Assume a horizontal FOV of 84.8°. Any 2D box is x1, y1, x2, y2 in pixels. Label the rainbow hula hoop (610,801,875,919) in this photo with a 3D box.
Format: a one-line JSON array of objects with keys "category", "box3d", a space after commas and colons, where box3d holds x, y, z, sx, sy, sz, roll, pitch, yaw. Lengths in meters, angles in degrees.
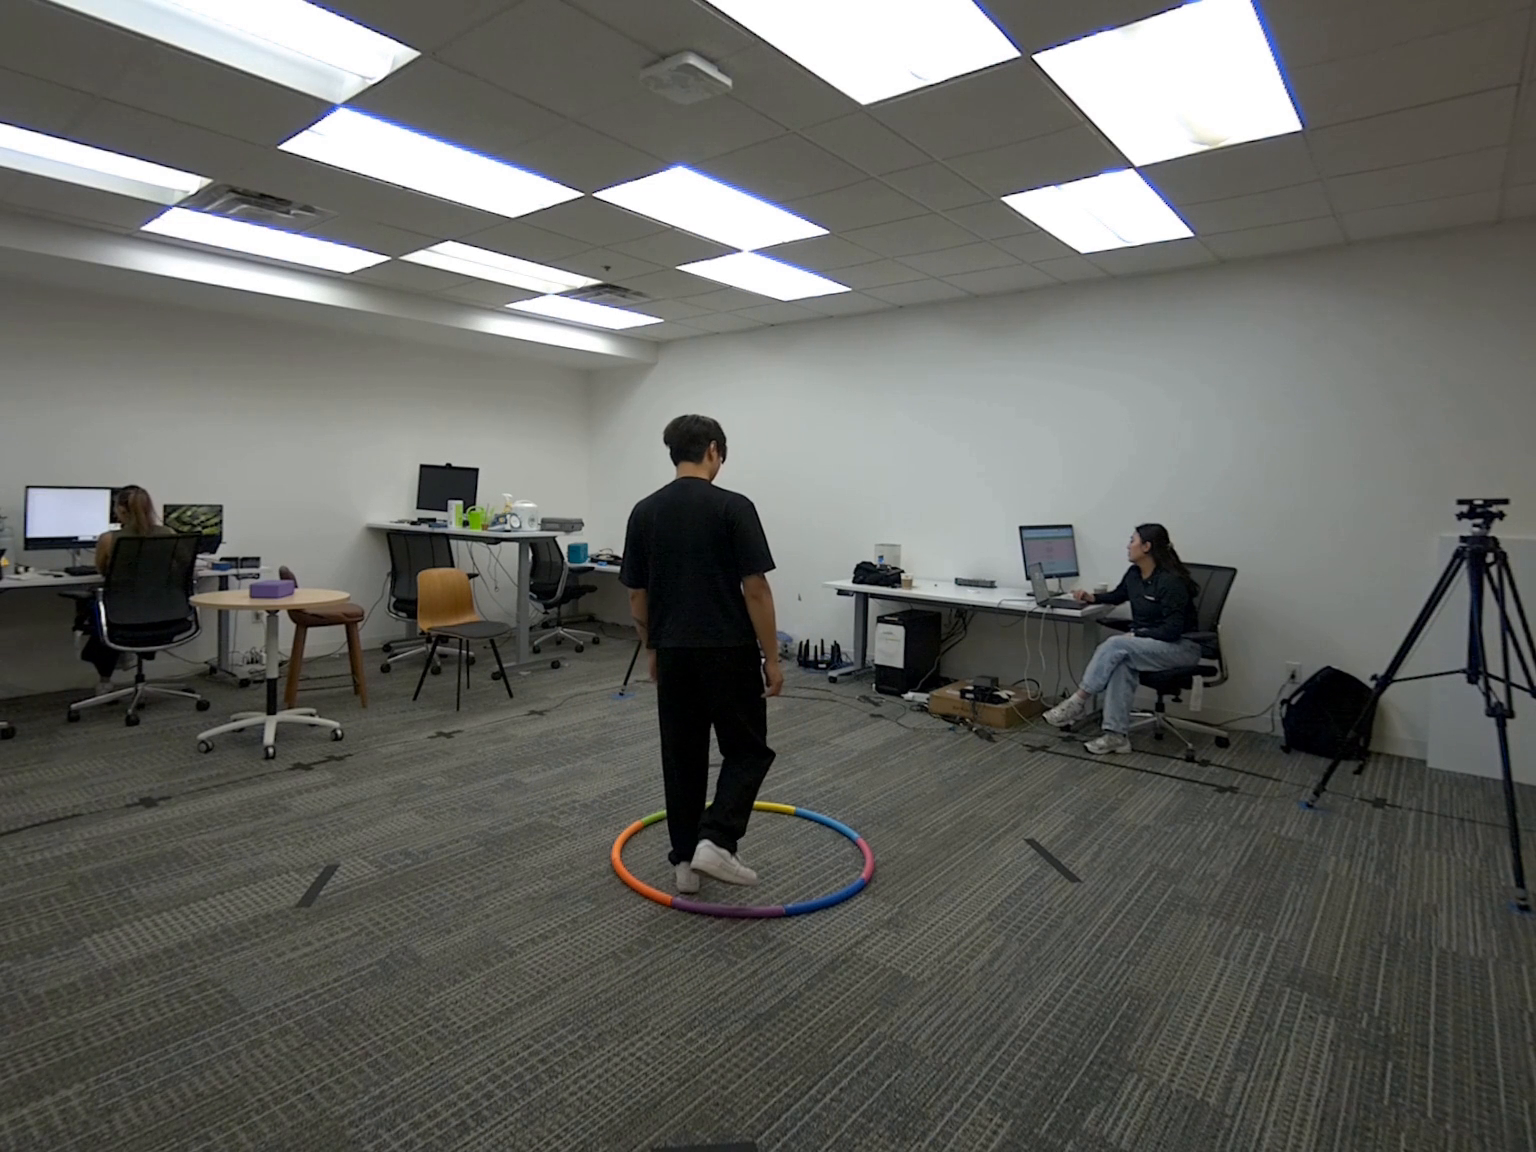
[{"category": "rainbow hula hoop", "box3d": [-0.105, 1.032, 3.231, 0.978, 0.035, 0.984, 1, 6, -2]}]
